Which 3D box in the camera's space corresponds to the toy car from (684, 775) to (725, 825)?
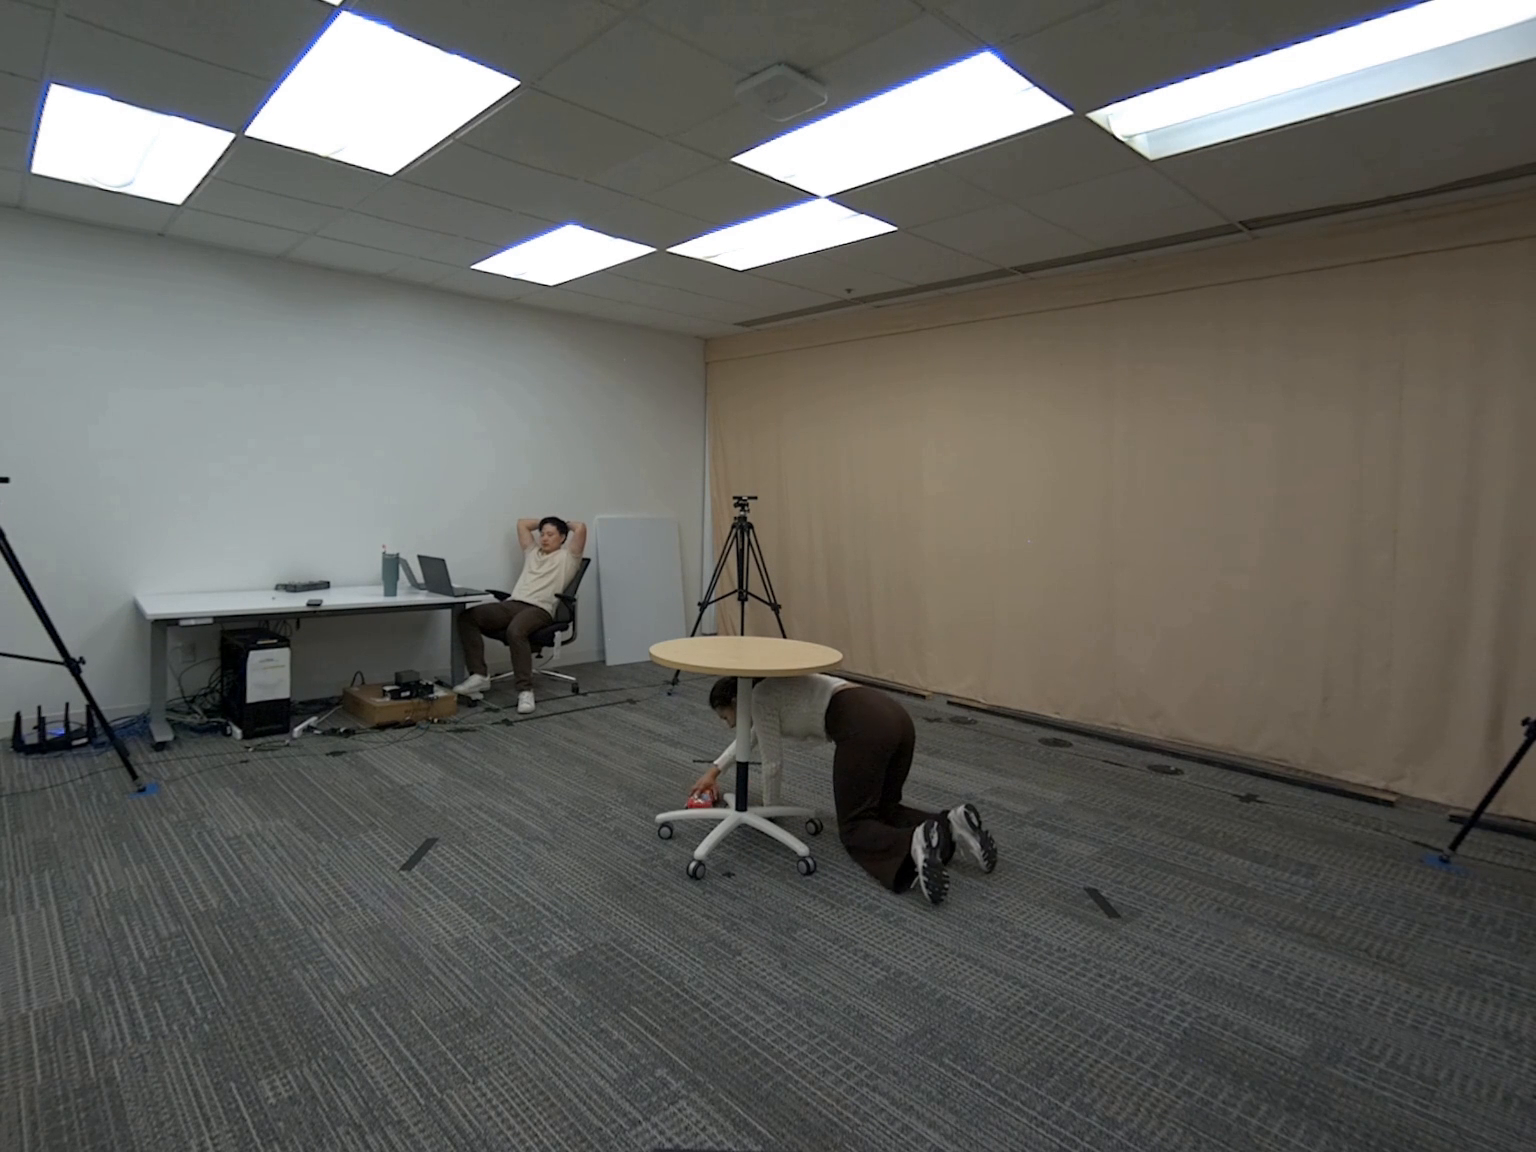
[{"bbox_3d":[-0.286,1.004,3.812,0.131,0.082,0.255,1,15,7],"label":"toy car"}]
